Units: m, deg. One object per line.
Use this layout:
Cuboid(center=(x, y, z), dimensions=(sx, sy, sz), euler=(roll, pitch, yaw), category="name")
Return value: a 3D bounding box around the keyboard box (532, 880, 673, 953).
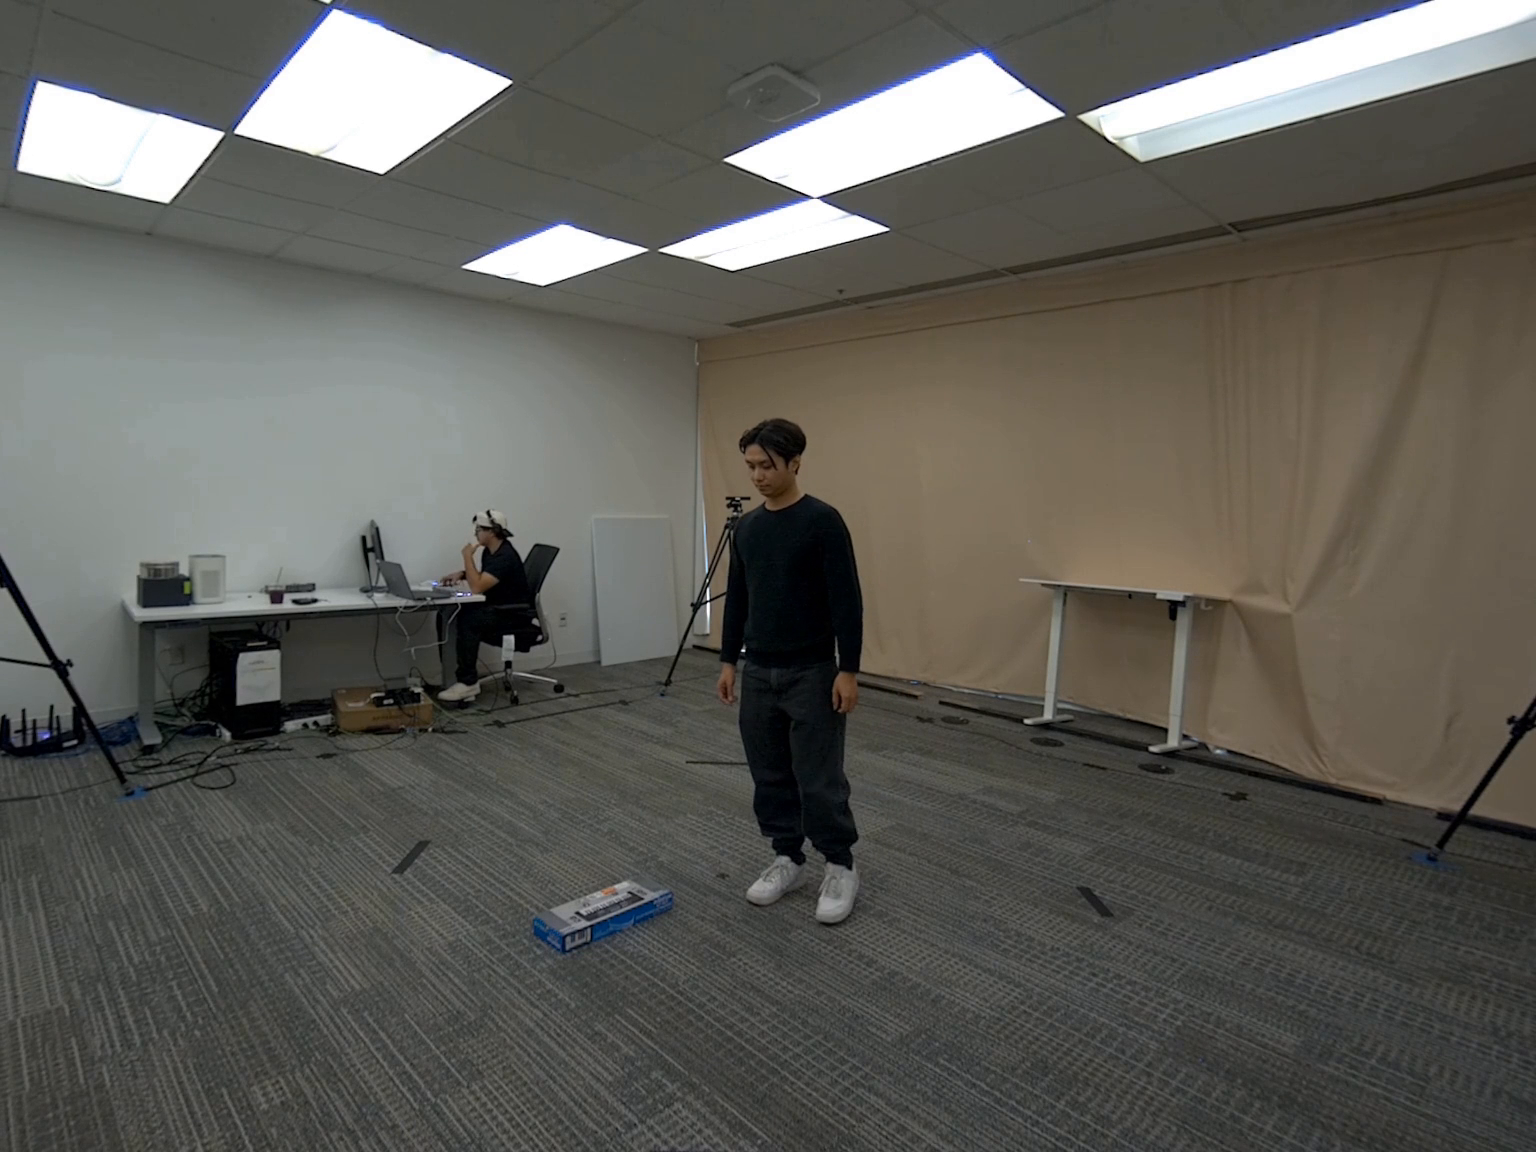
Cuboid(center=(-0.540, 1.100, 2.756), dimensions=(0.180, 0.059, 0.427), euler=(6, 6, 44), category="keyboard box")
